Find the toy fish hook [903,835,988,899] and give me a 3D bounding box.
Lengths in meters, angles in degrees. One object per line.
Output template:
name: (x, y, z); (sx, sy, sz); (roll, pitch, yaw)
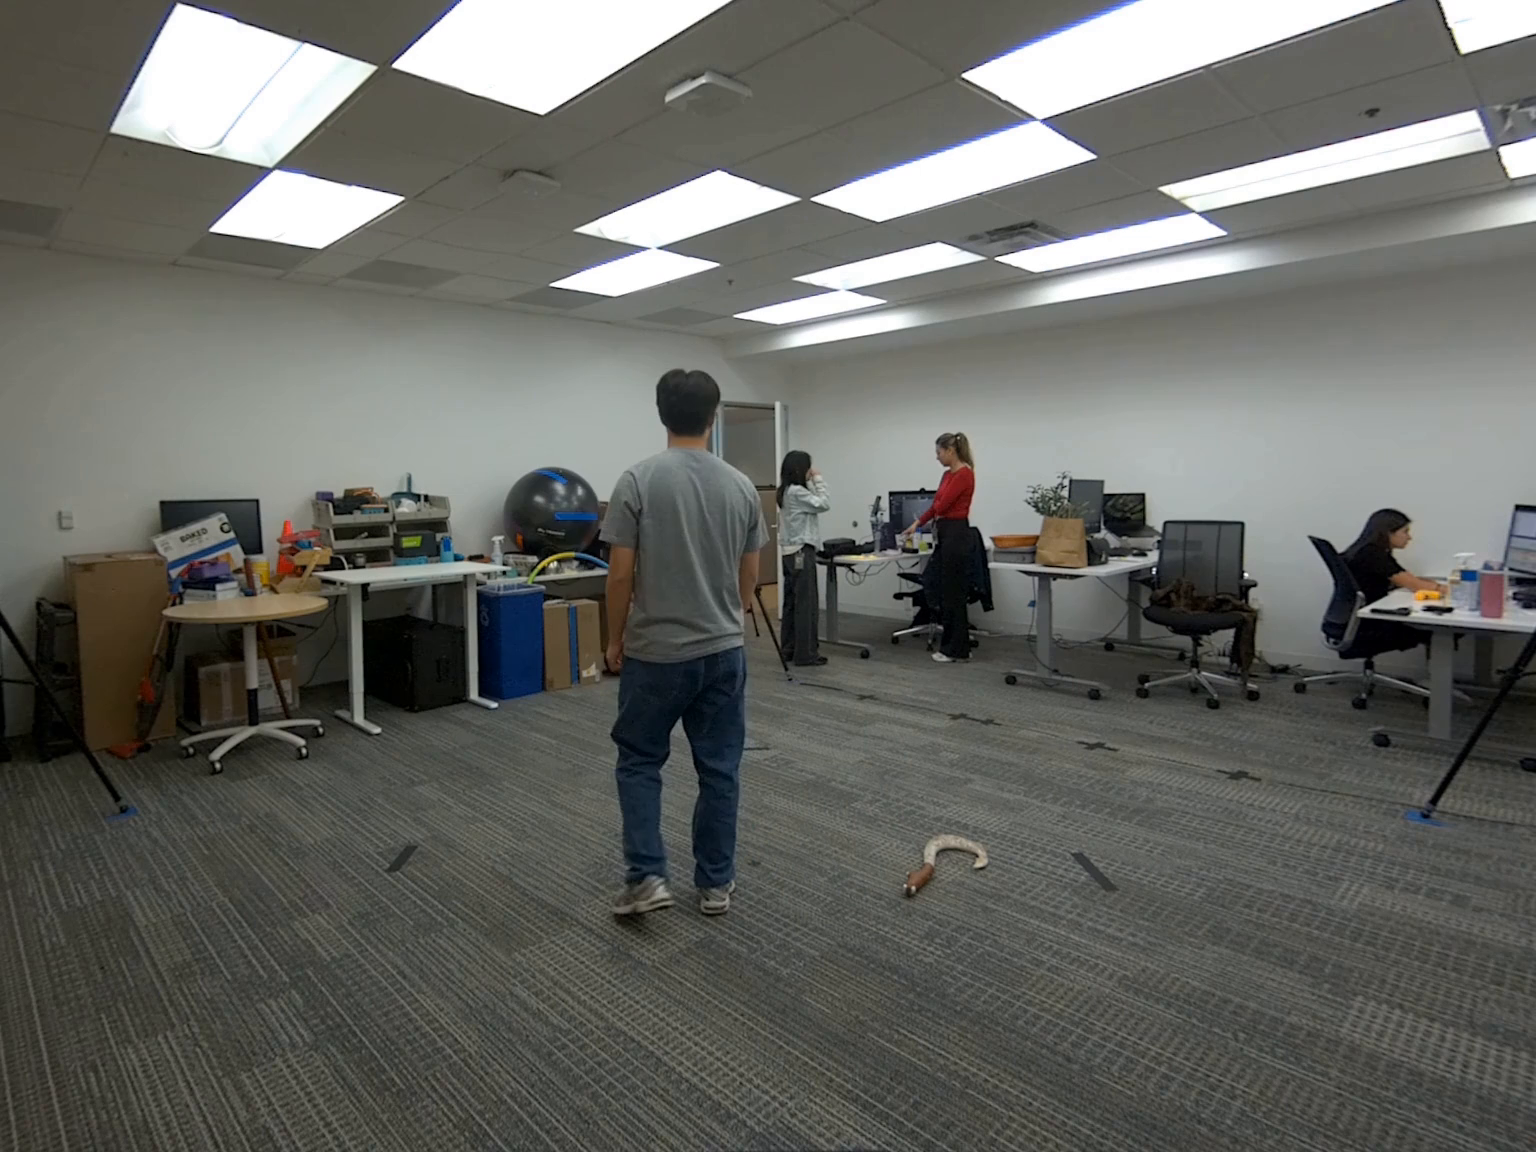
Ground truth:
toy fish hook: (0.630, 1.021, 3.007); (0.230, 0.048, 0.496); (1, 7, 30)
